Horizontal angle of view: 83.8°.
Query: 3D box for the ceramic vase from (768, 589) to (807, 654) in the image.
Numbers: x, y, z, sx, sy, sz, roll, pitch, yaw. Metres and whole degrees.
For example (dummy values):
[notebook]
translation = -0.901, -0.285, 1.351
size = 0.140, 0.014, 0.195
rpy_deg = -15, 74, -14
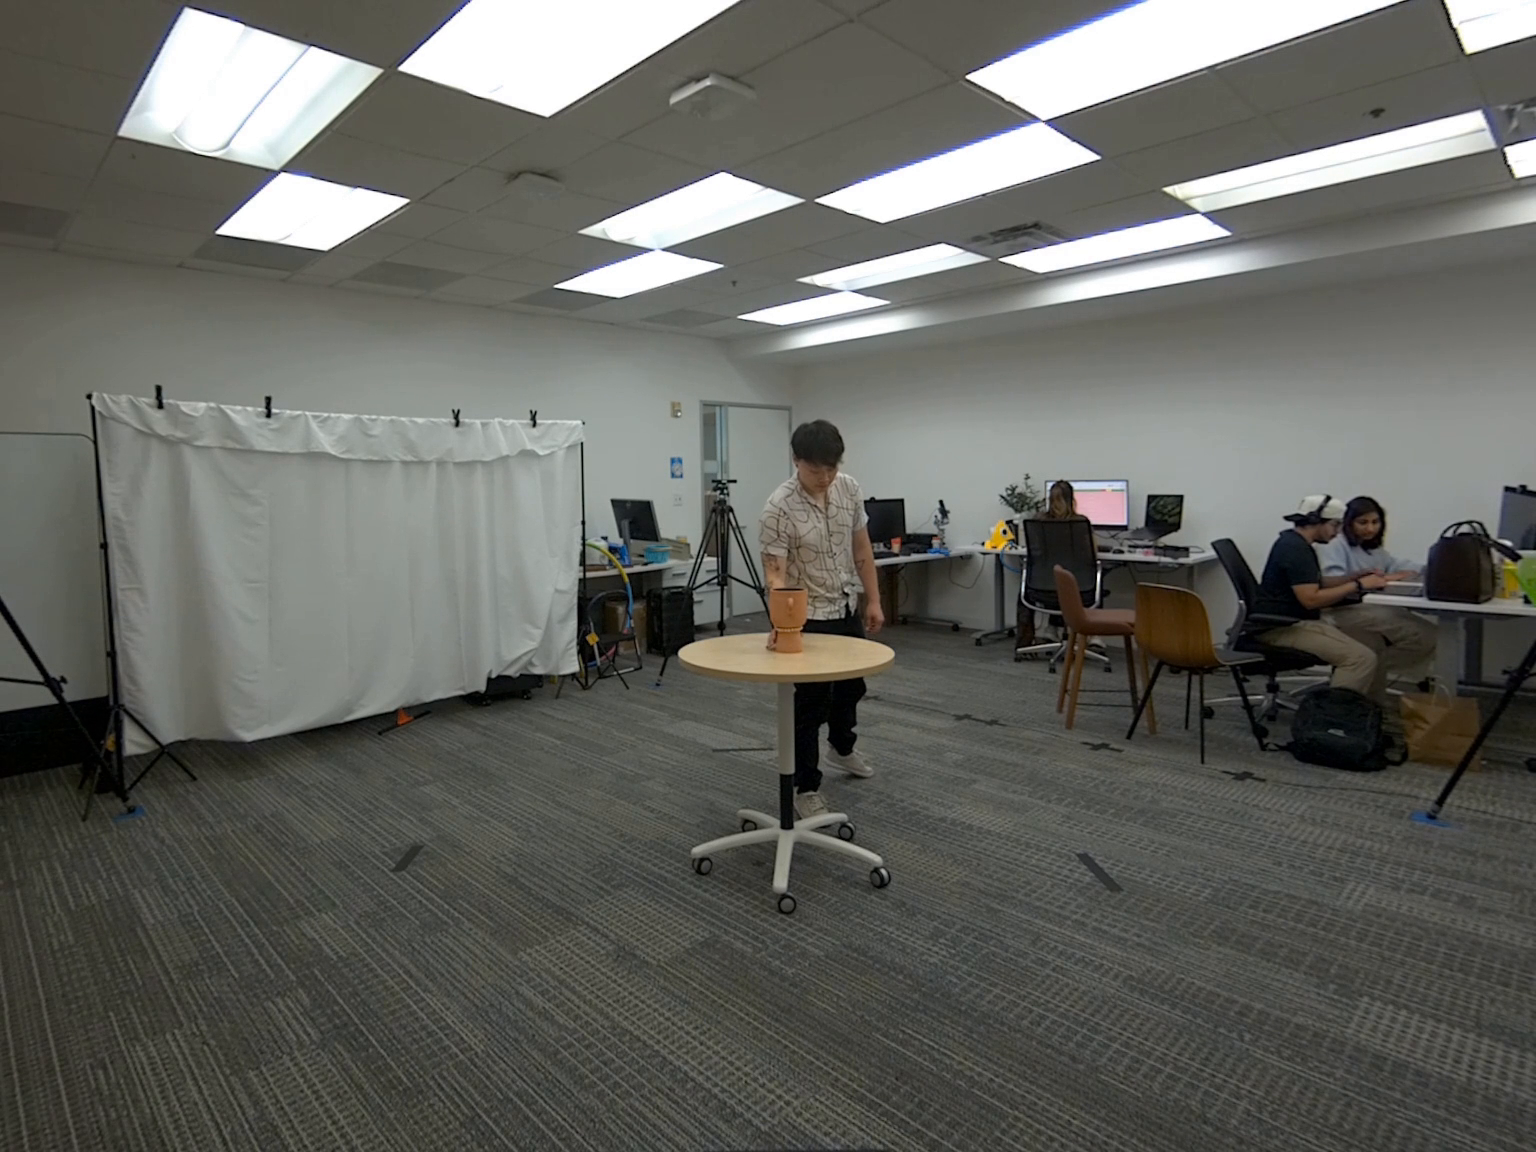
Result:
[ceramic vase]
translation = 0.072, 0.160, 3.047
size = 0.138, 0.219, 0.155
rpy_deg = 0, 4, 36
